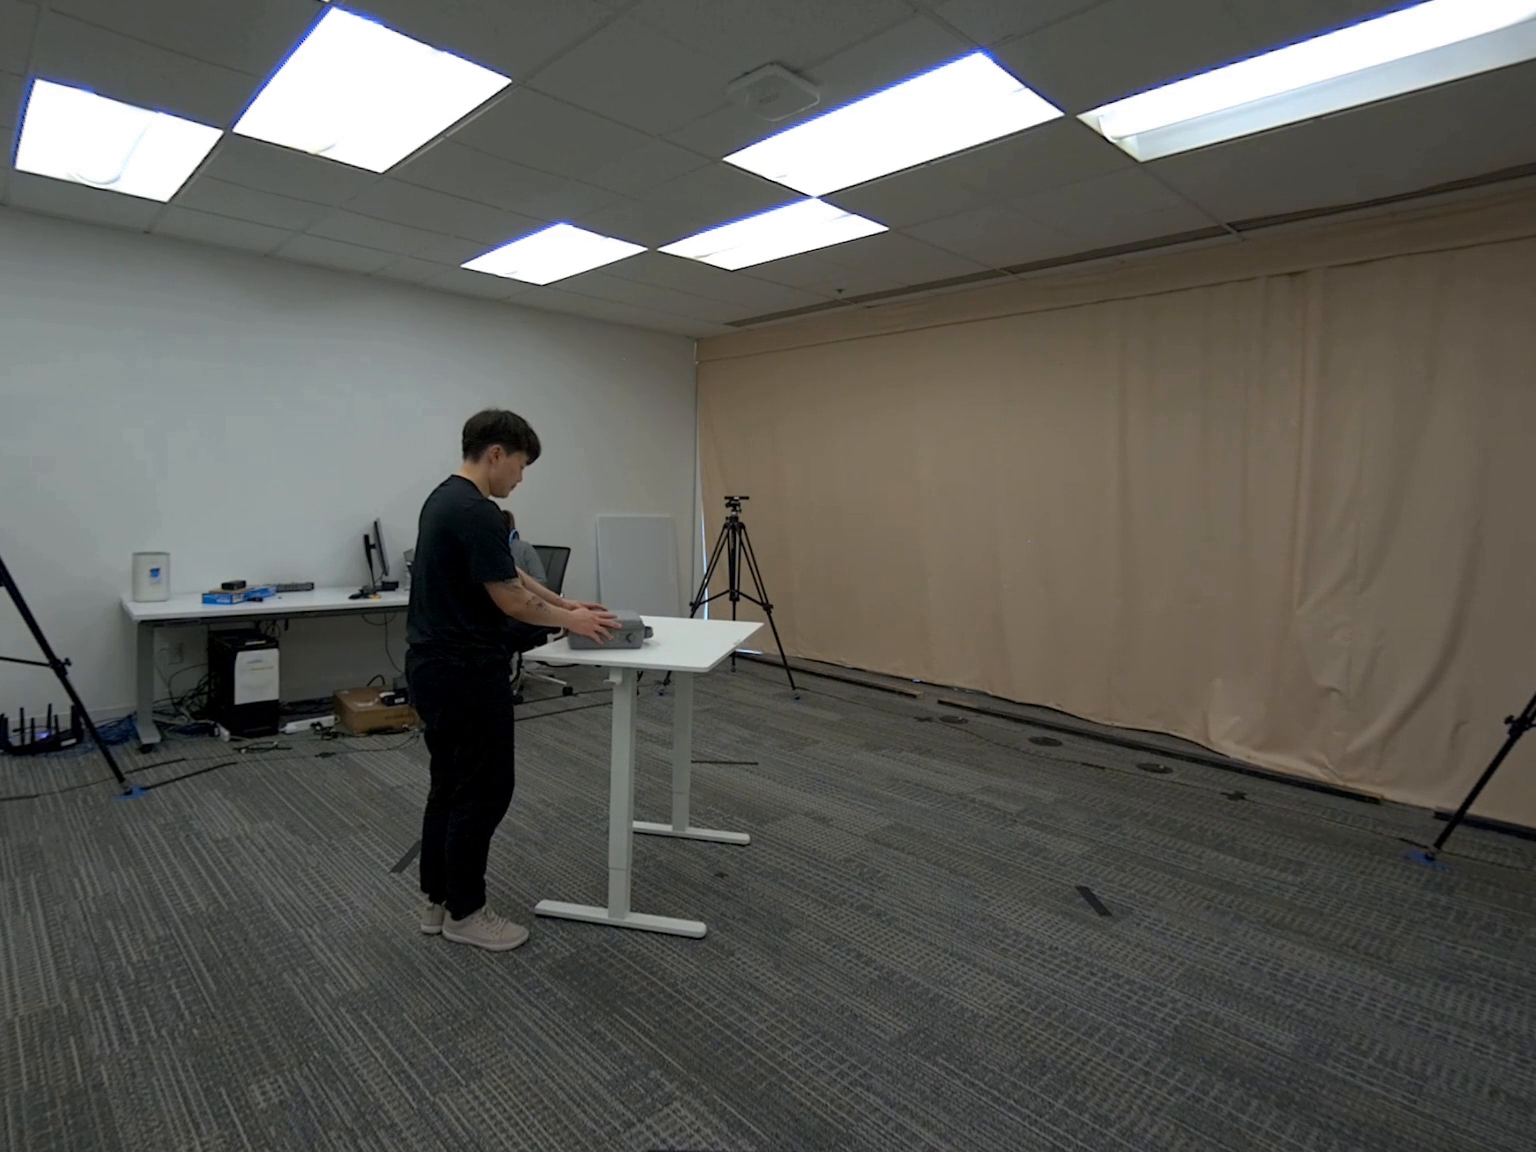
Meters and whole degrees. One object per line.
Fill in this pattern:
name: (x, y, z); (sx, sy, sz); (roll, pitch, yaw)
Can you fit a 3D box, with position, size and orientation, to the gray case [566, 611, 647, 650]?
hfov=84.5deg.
gray case: (-0.554, 0.184, 2.879); (0.259, 0.104, 0.259); (0, 3, -10)
